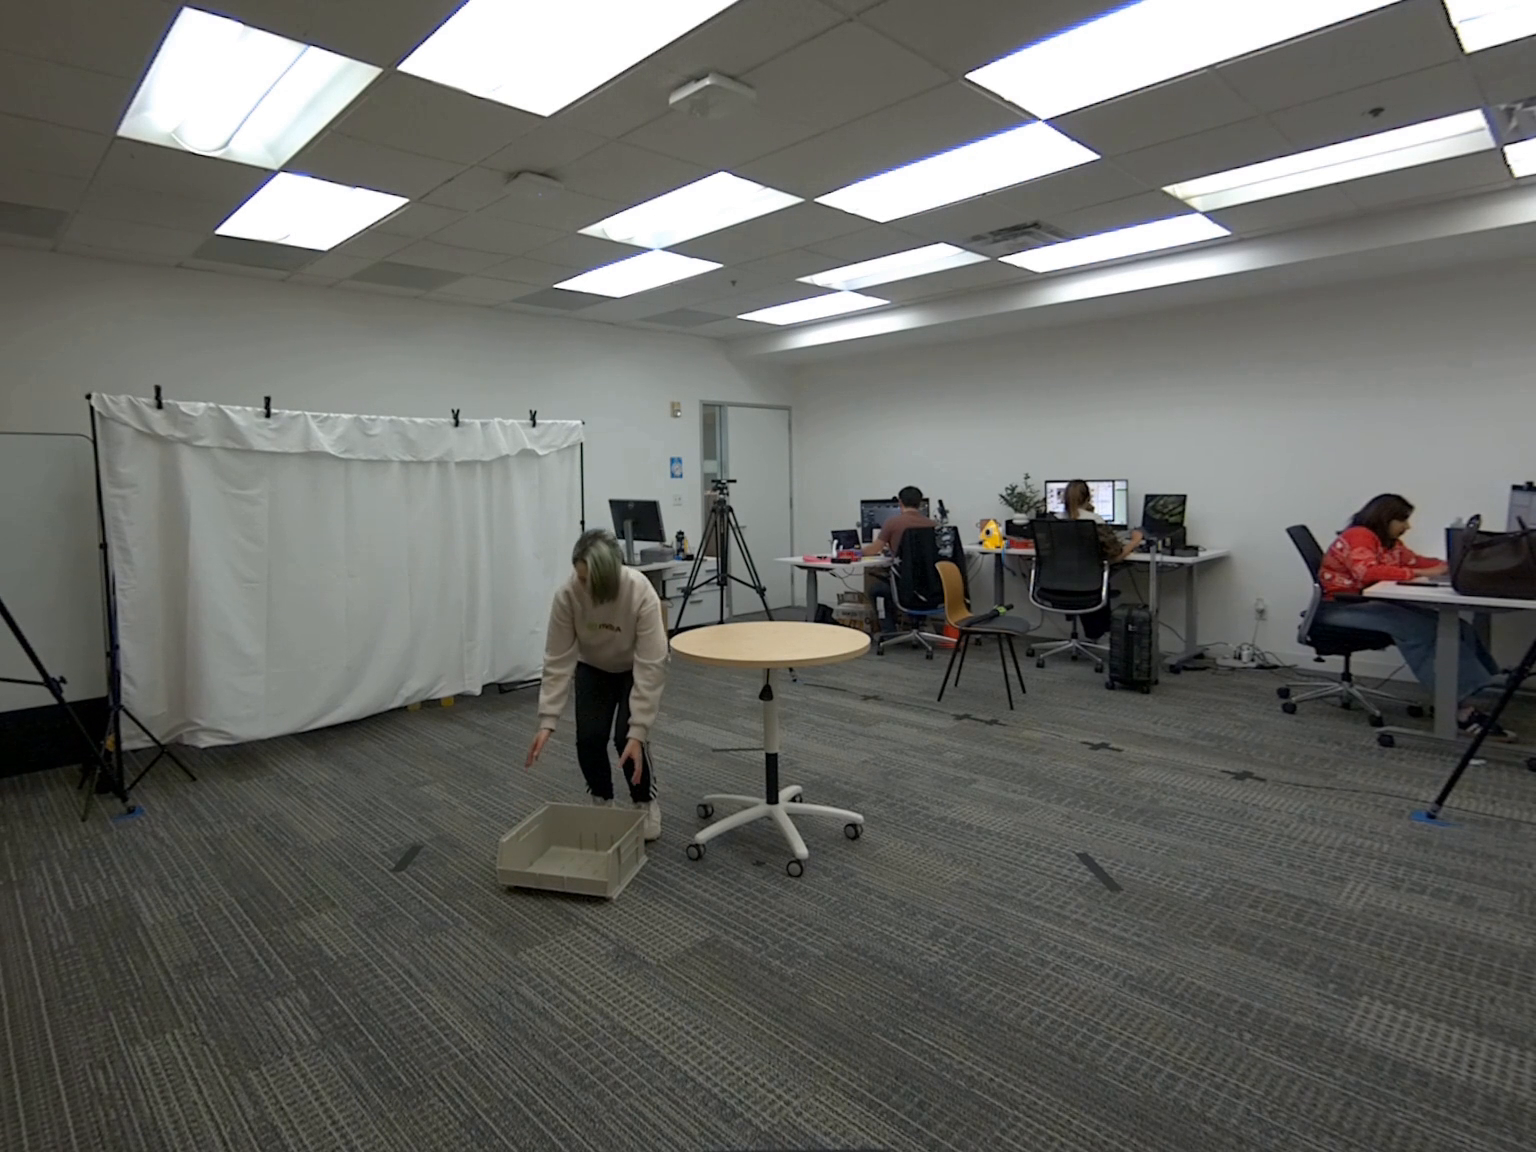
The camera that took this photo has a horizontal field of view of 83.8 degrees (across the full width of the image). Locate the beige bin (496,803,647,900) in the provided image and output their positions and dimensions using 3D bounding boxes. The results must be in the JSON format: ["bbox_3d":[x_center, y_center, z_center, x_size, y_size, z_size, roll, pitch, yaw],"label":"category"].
[{"bbox_3d":[-0.689,0.981,3.038,0.428,0.188,0.373,-1,5,15],"label":"beige bin"}]
